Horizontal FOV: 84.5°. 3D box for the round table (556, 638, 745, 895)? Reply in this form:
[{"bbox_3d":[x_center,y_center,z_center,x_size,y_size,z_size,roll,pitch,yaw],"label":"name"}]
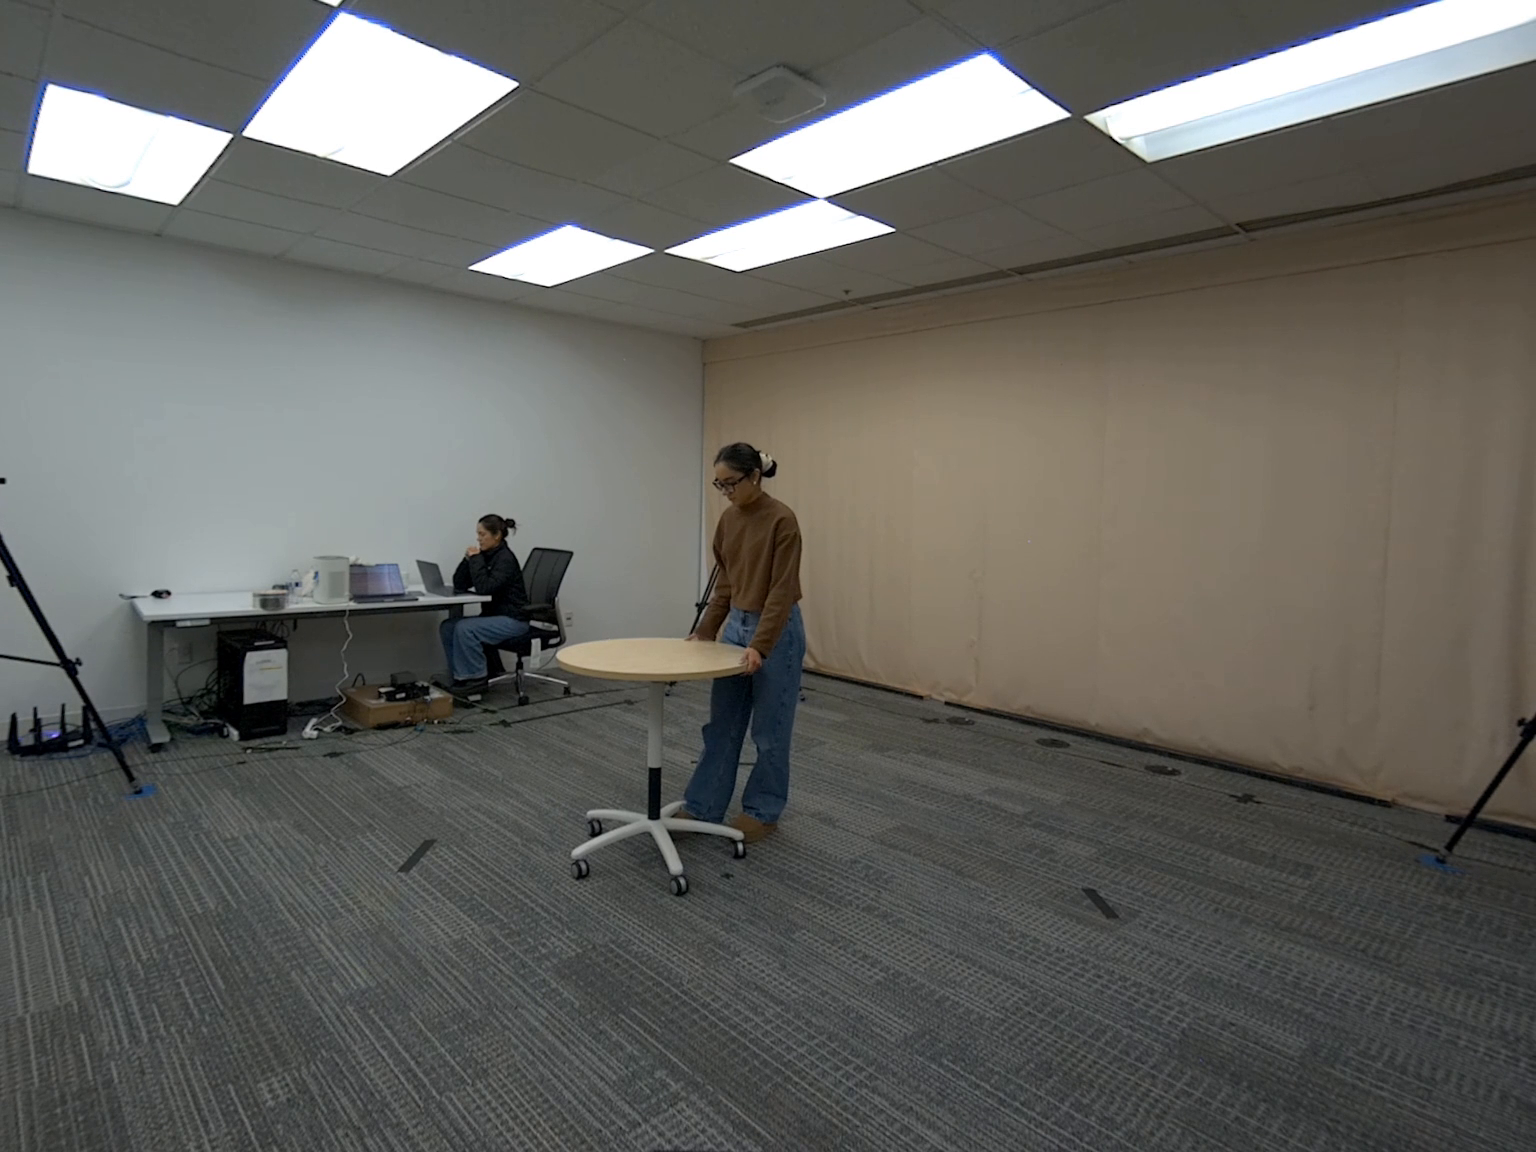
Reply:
[{"bbox_3d":[-0.449,0.696,3.259,0.763,0.792,0.766,1,4,-1],"label":"round table"}]
